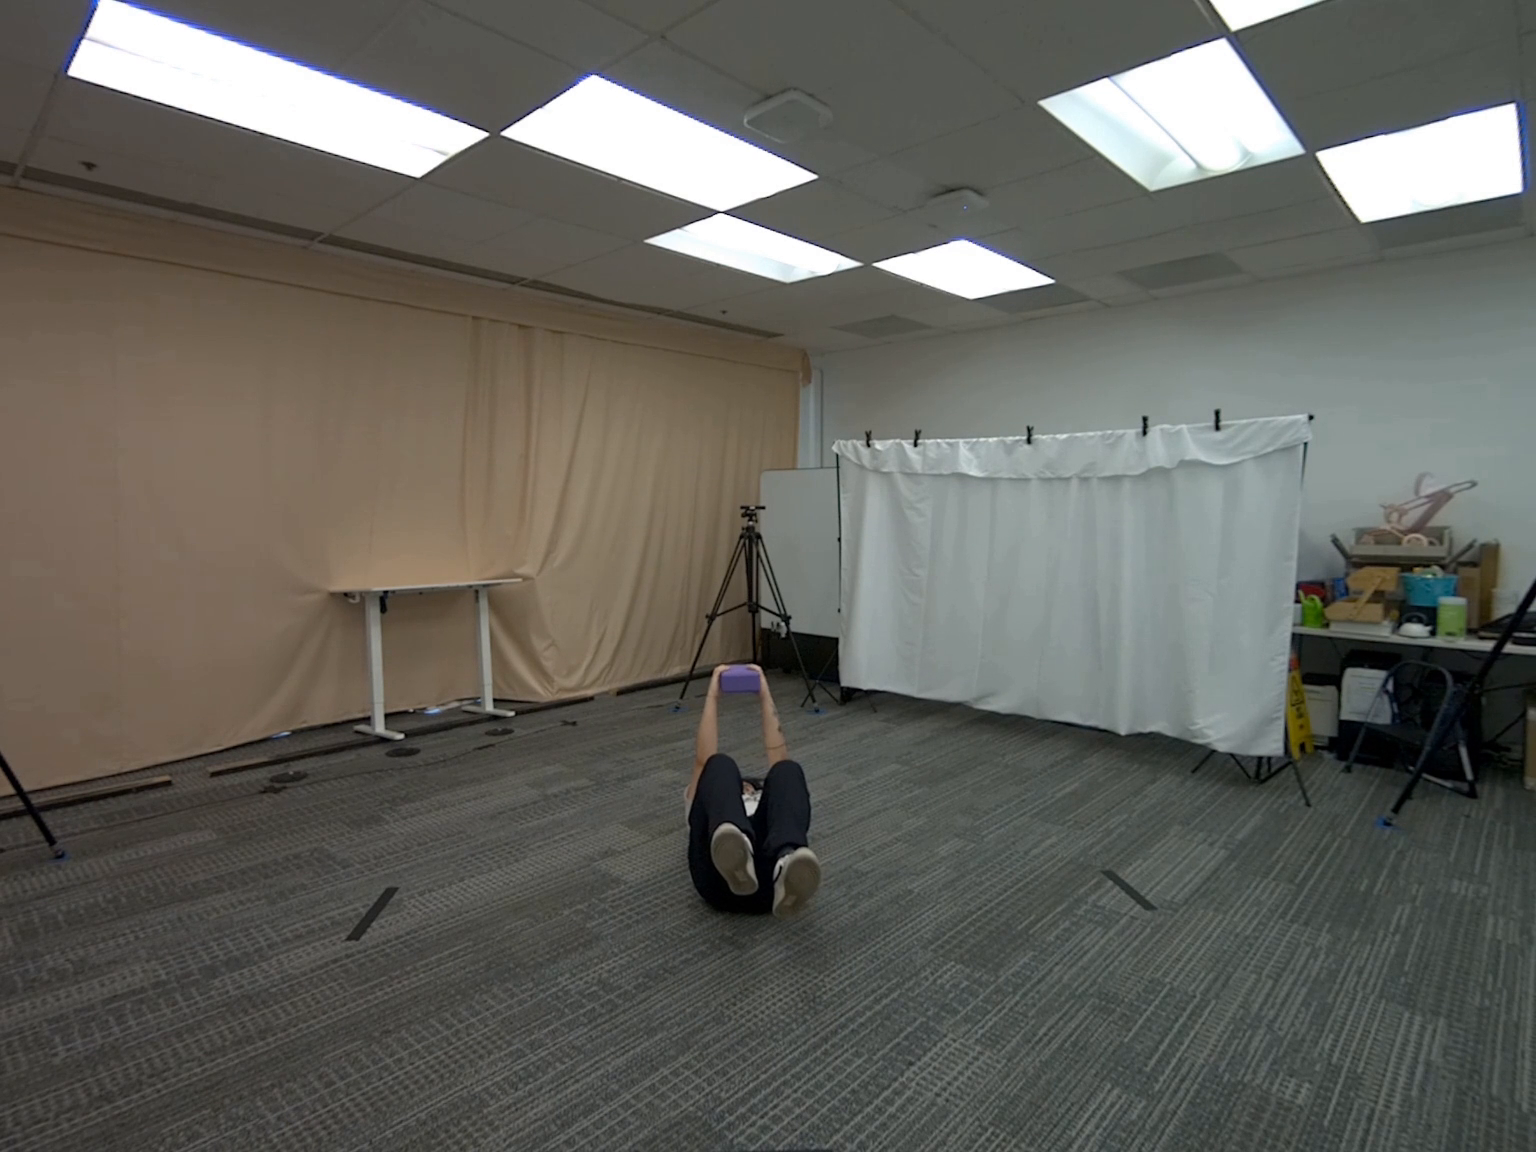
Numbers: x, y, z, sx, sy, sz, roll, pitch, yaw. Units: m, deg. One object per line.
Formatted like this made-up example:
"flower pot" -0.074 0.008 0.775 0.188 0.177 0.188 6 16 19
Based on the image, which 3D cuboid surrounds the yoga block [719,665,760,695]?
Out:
"yoga block" -0.116 0.416 3.432 0.148 0.076 0.231 -2 4 -6
